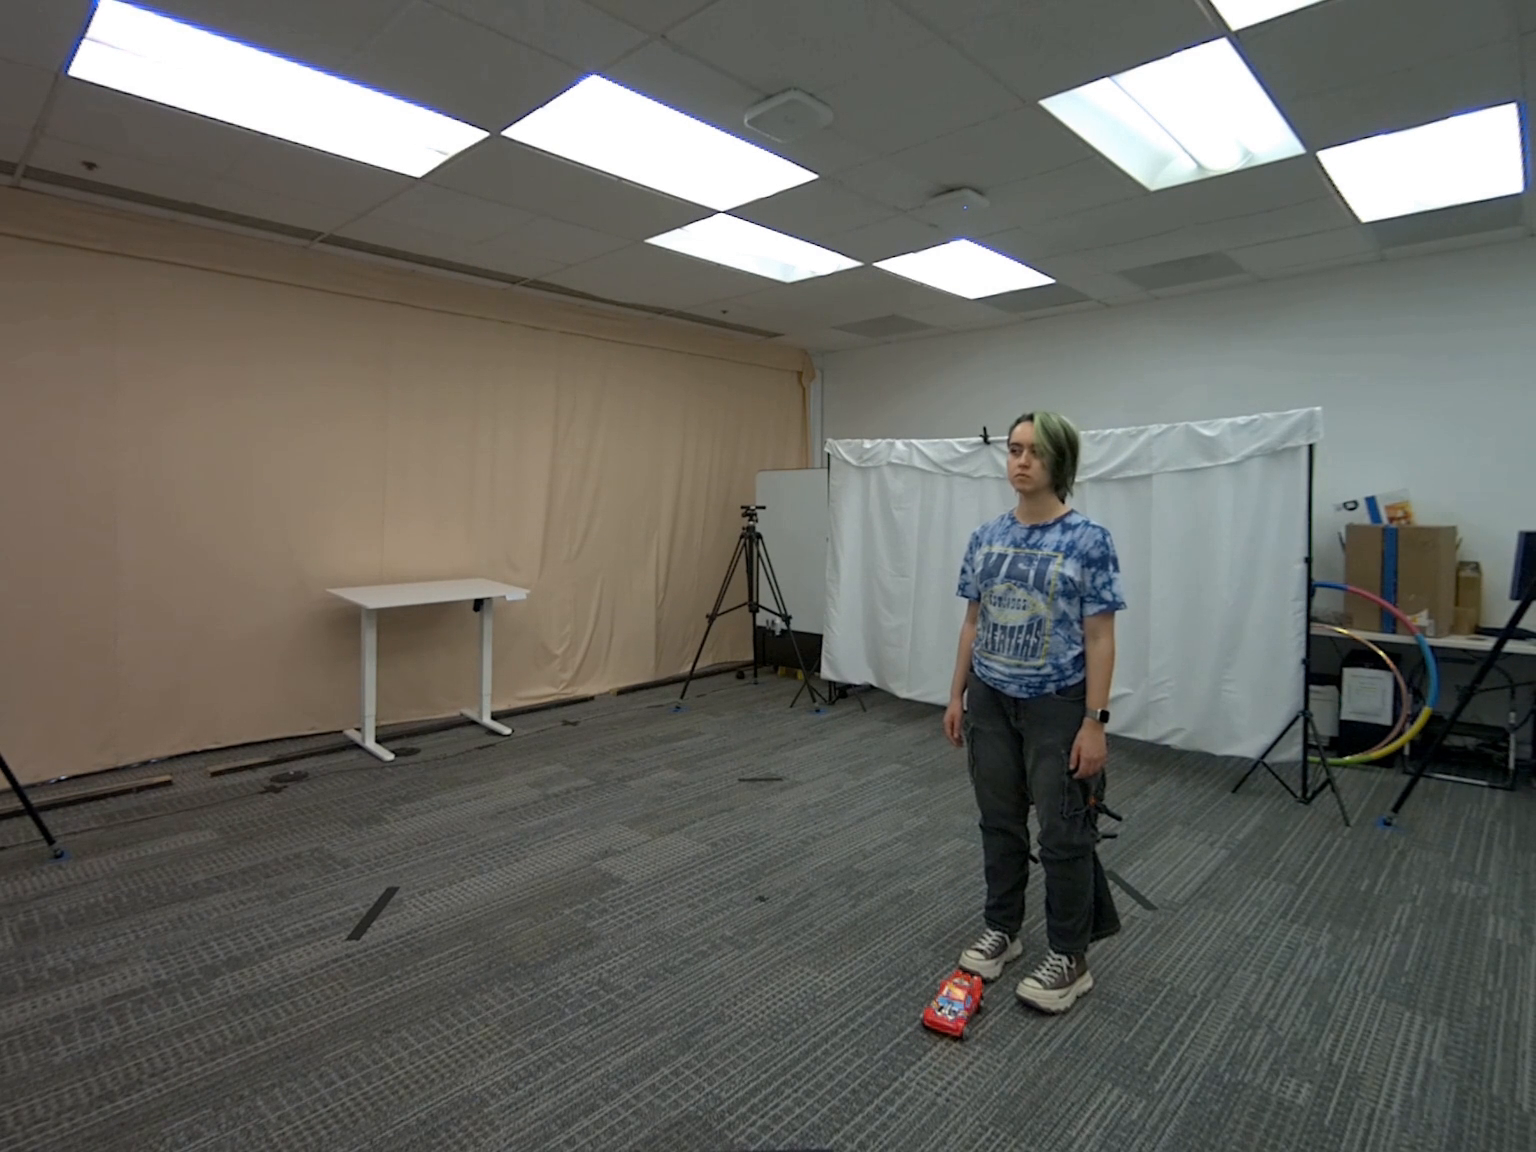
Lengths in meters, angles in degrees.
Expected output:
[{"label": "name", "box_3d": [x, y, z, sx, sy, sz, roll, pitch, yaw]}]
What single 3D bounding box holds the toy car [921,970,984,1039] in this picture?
[{"label": "toy car", "box_3d": [0.520, 1.172, 2.297, 0.134, 0.082, 0.249, 2, 16, 31]}]
